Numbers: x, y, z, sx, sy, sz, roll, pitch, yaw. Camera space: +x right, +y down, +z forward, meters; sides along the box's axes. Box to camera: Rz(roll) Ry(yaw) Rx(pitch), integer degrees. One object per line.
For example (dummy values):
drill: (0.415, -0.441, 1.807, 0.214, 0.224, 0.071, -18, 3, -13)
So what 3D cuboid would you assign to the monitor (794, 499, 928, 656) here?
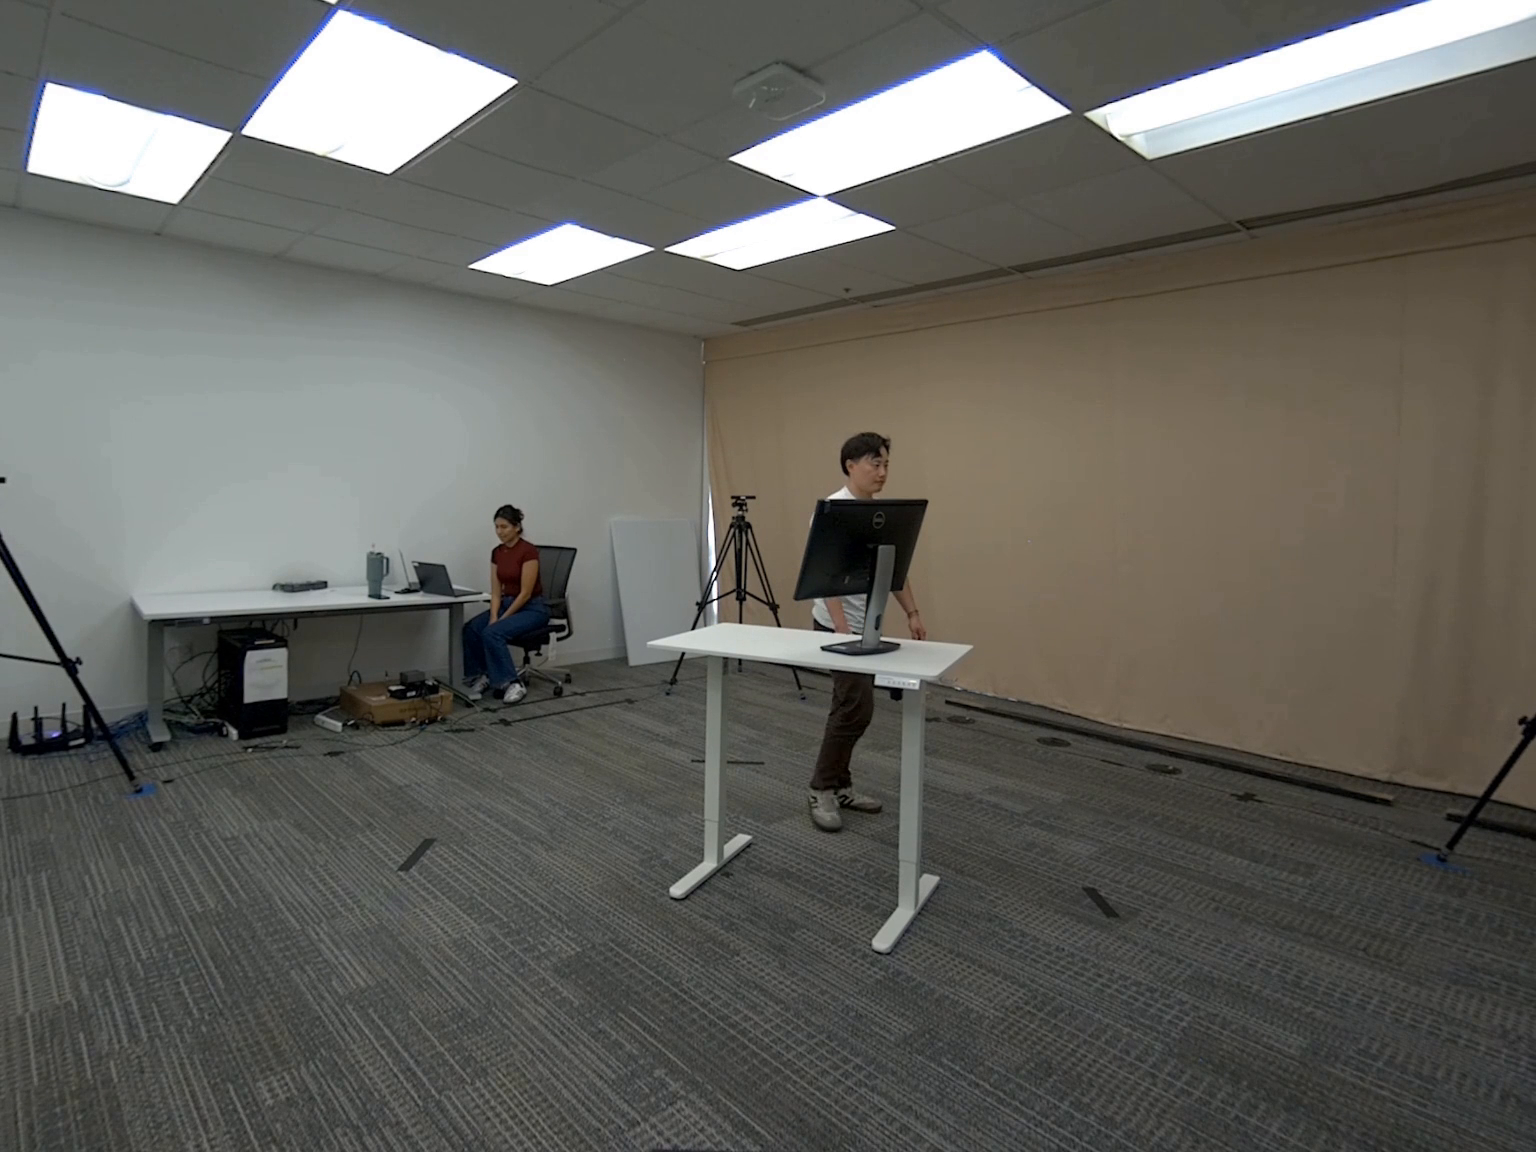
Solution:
monitor: (0.335, 0.001, 2.854, 0.527, 0.520, 0.192, -3, 8, -41)
